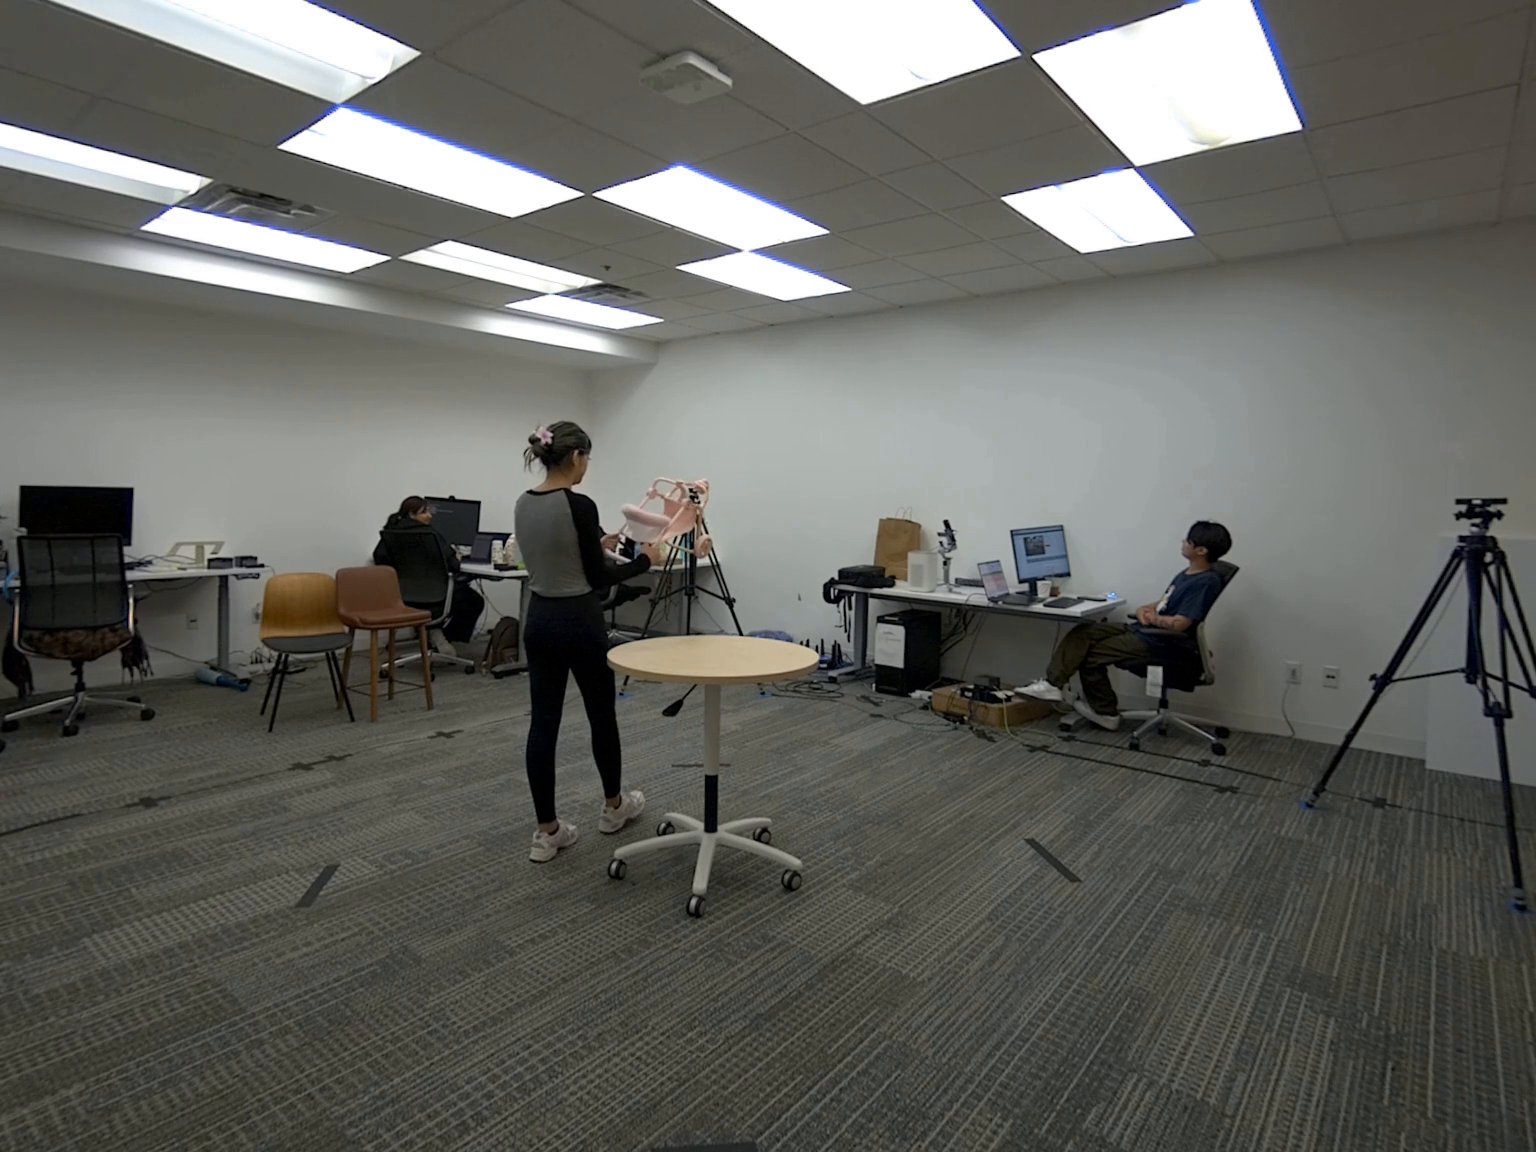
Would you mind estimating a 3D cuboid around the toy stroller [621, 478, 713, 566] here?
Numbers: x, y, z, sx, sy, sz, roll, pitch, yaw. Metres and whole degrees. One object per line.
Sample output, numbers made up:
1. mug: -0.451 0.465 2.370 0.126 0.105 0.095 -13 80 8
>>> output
1. toy stroller: -0.451 -0.247 3.608 0.291 0.338 0.522 23 19 29
